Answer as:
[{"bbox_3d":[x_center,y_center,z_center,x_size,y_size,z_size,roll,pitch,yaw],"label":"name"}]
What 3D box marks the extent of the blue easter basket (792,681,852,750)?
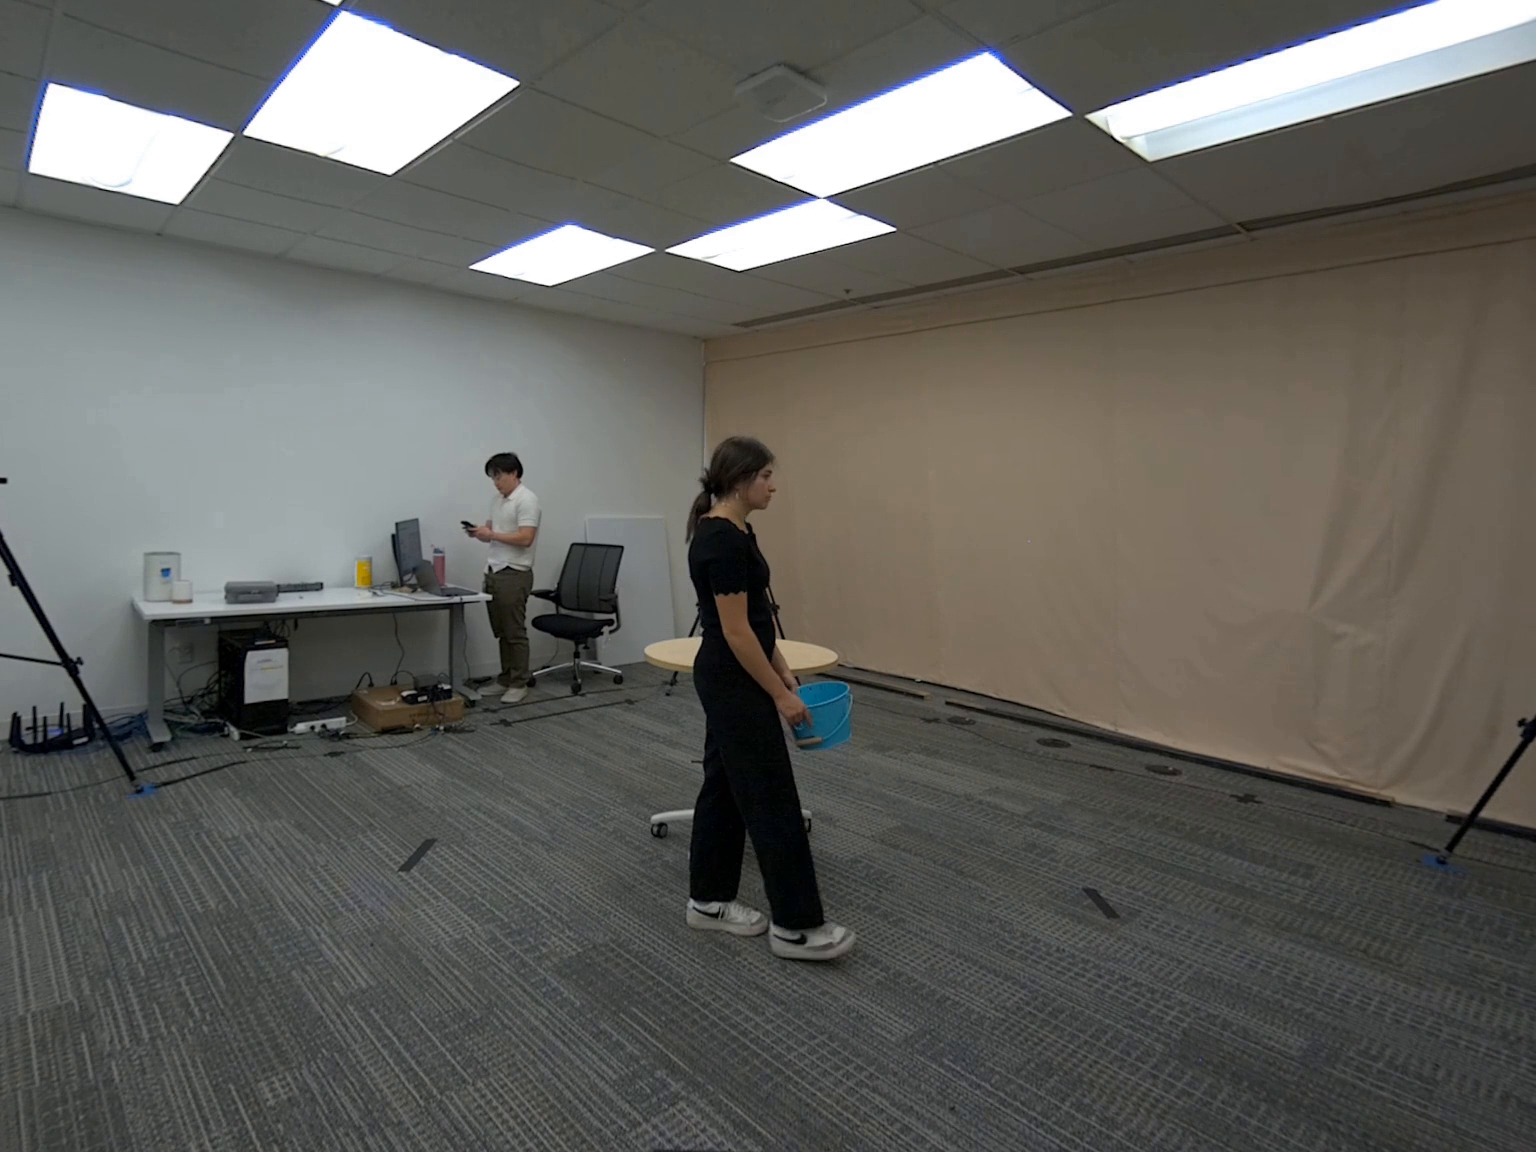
[{"bbox_3d":[0.124,0.459,2.682,0.243,0.155,0.245,-10,7,0],"label":"blue easter basket"}]
